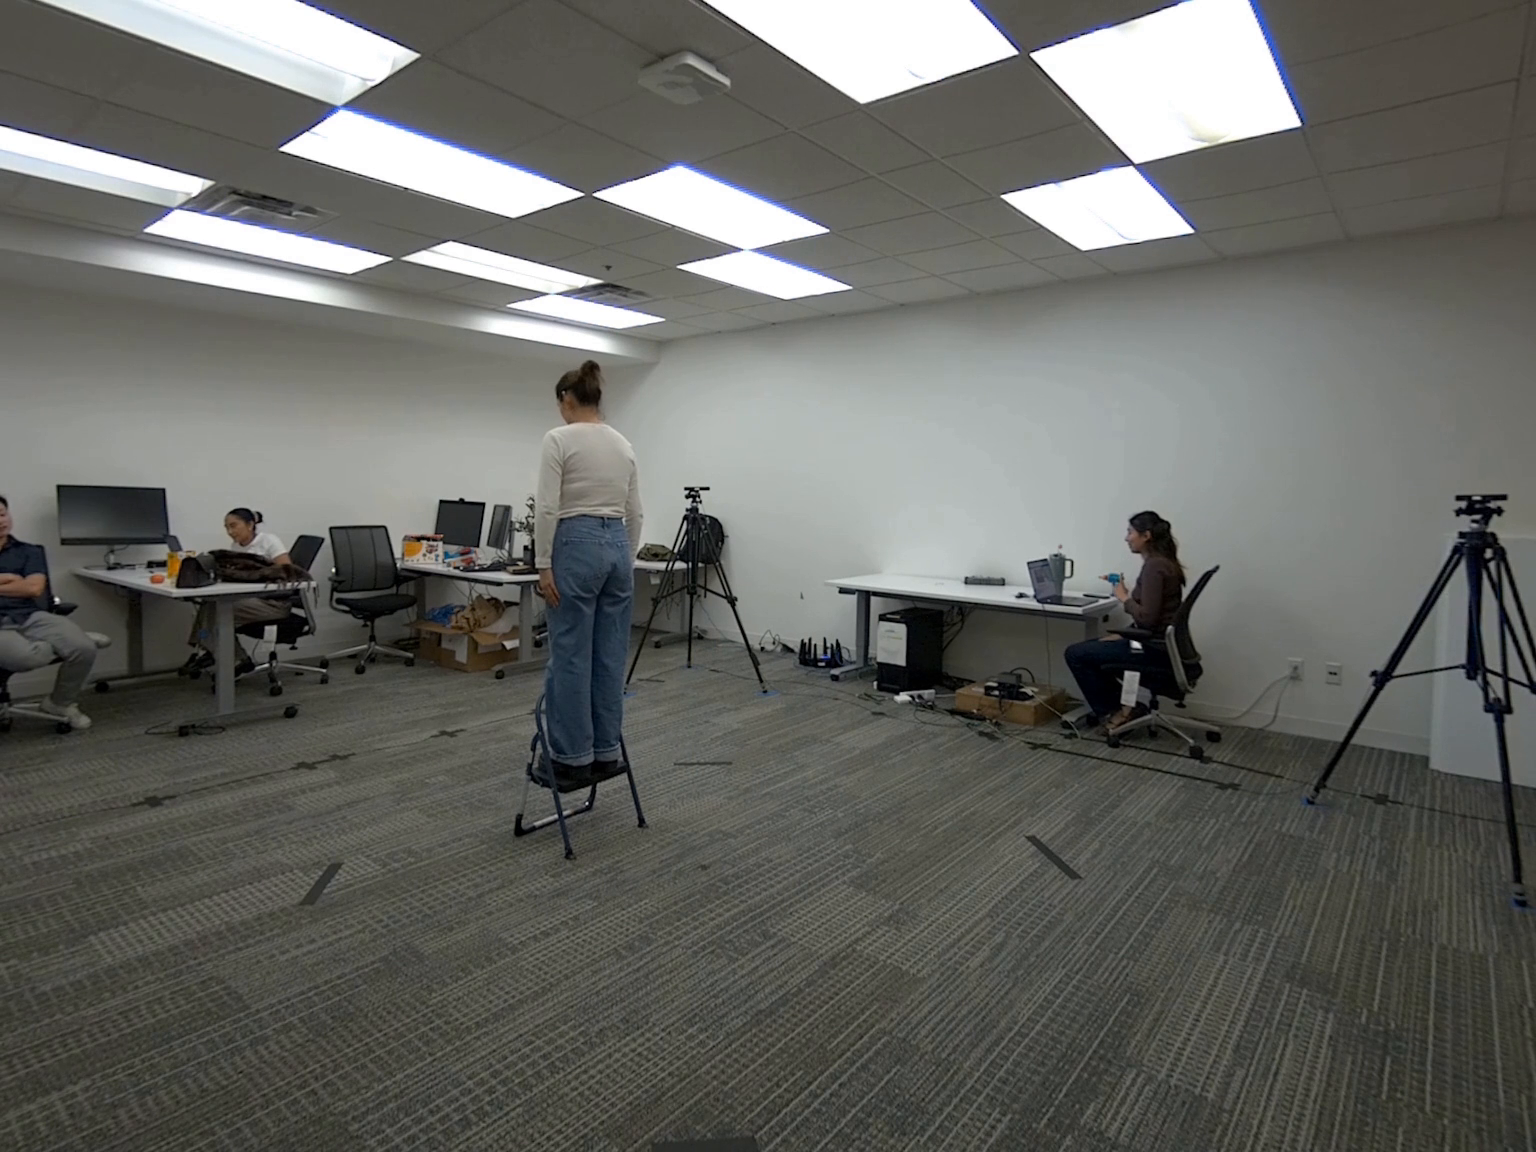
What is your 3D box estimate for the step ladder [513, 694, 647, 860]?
[{"bbox_3d":[-0.759,0.726,3.422,0.360,0.605,0.418,2,3,36],"label":"step ladder"}]
